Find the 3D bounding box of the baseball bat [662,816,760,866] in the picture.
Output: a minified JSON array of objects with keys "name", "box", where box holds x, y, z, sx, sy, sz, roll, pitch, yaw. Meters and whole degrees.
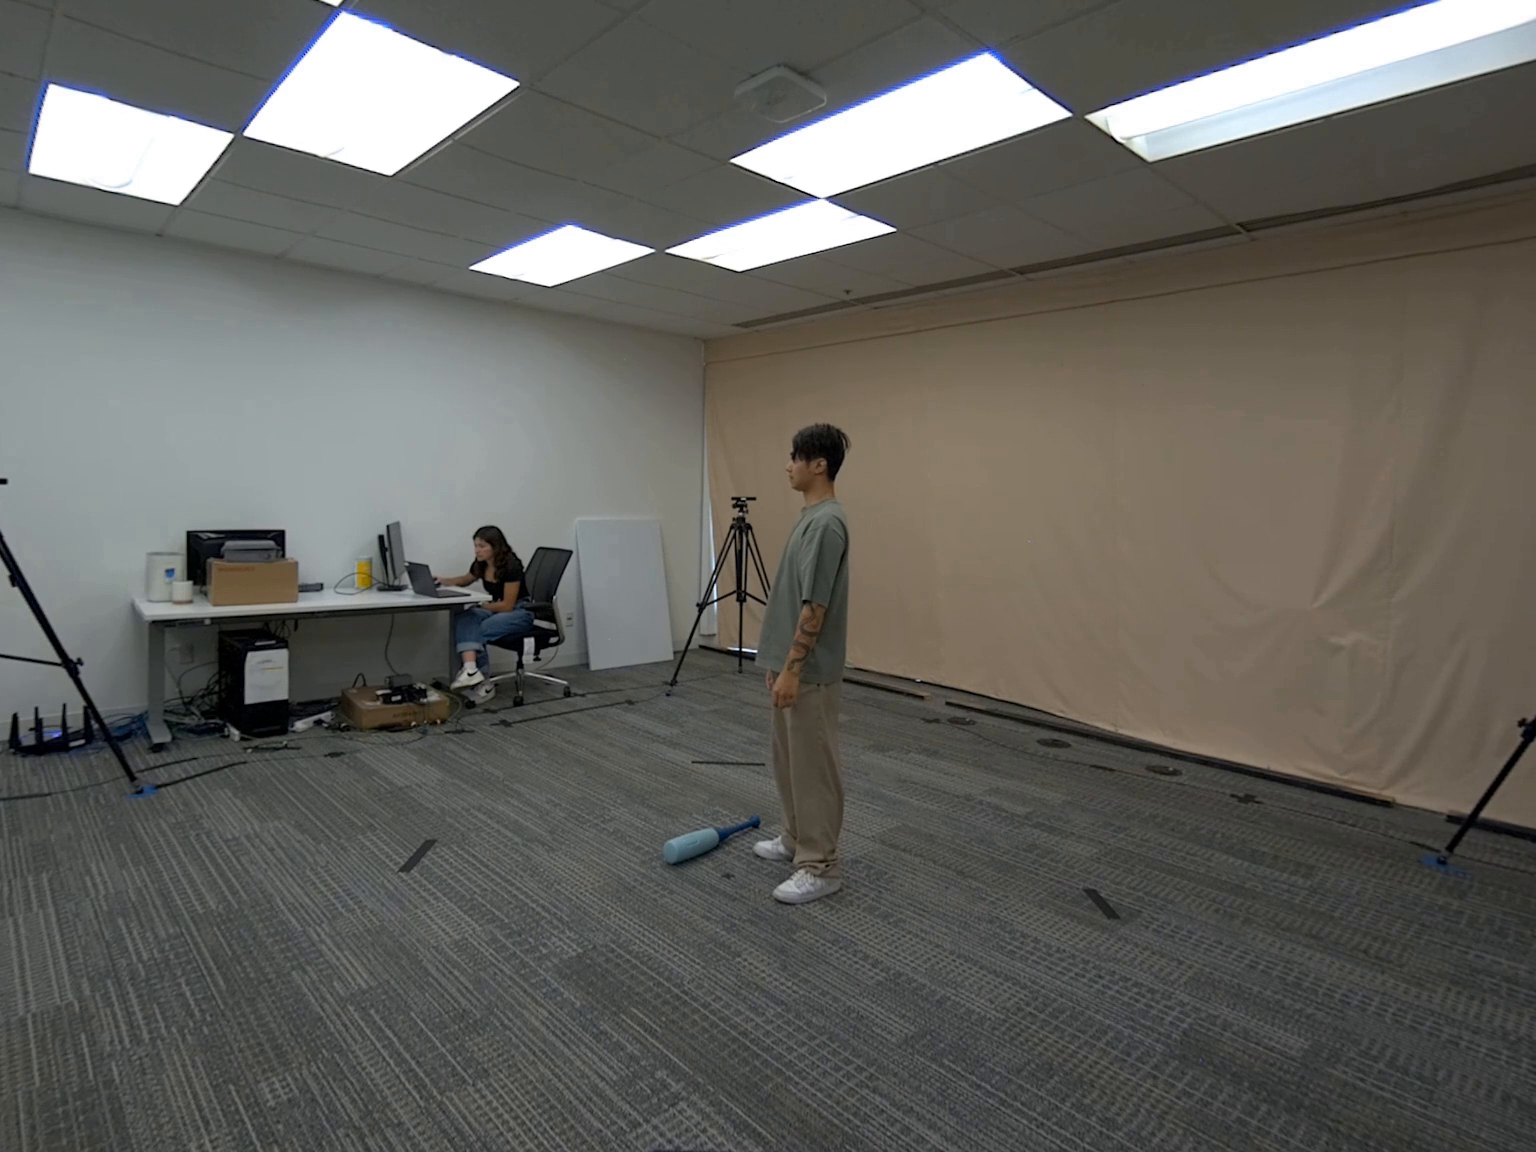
[{"name":"baseball bat","box":[-0.218,1.048,3.376,0.091,0.089,0.530,5,2,38]}]
